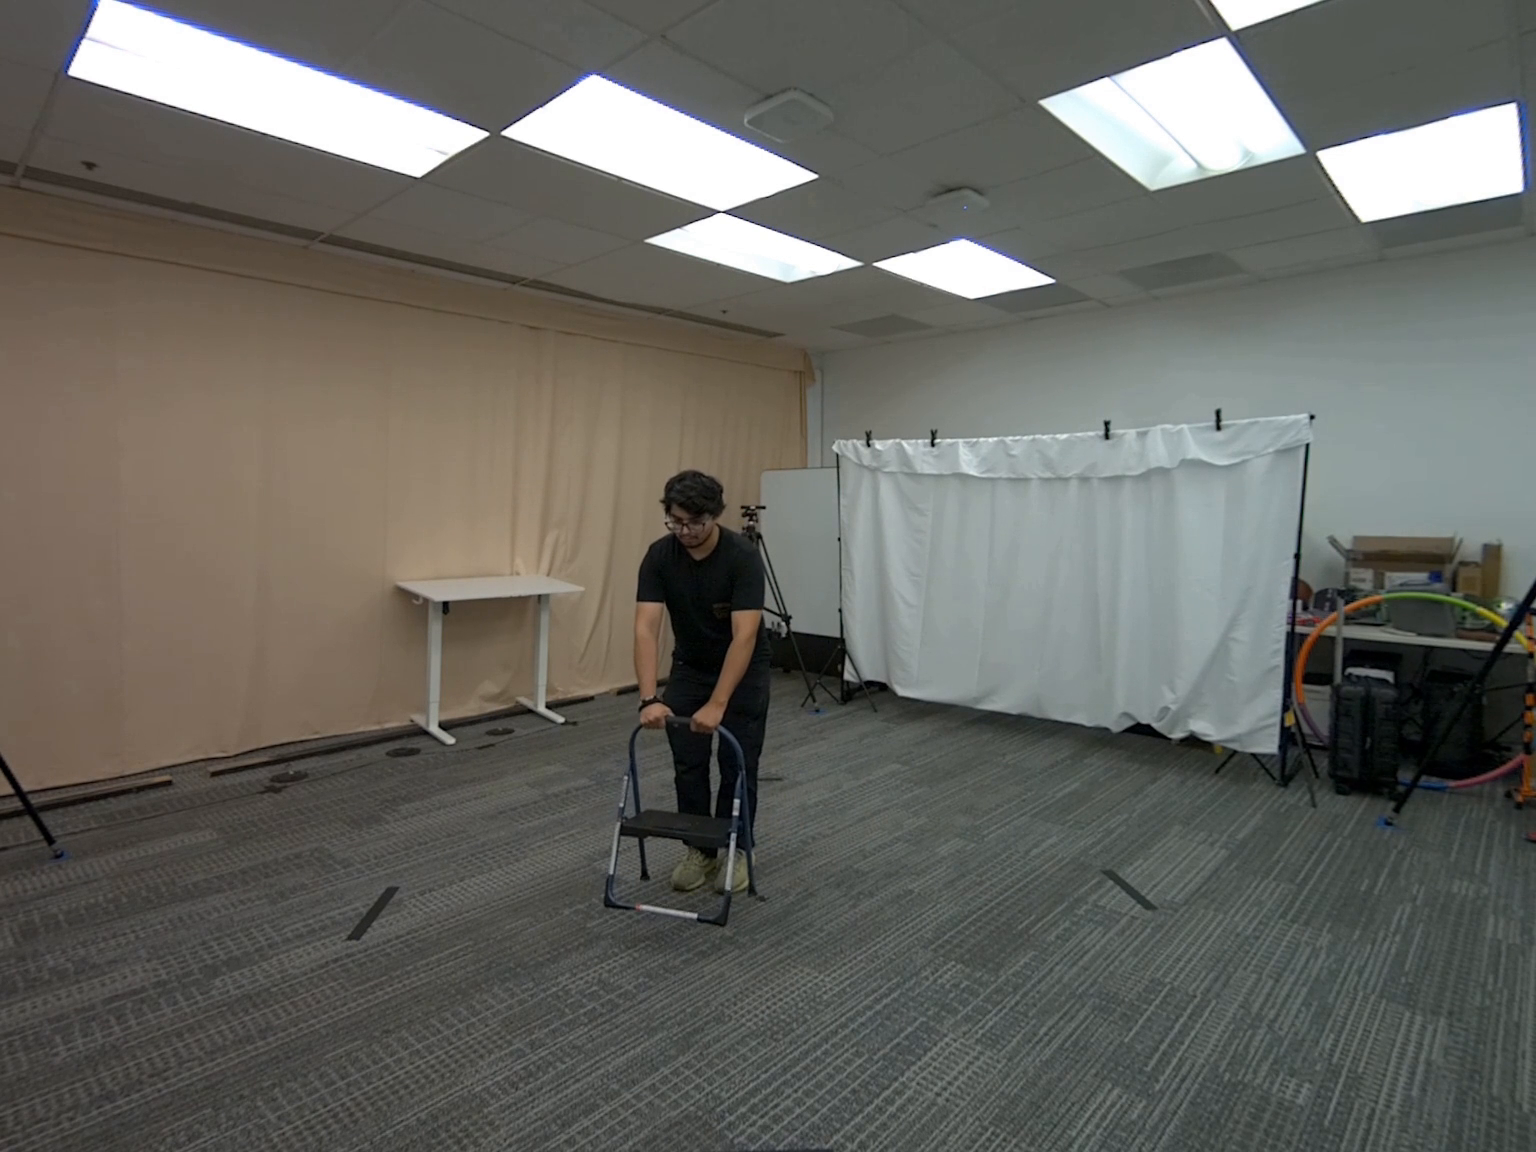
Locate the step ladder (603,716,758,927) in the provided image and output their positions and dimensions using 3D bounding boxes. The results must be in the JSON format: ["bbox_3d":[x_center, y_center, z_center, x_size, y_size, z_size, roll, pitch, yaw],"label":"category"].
[{"bbox_3d":[-0.276,0.771,2.801,0.439,0.608,0.342,1,-5,17],"label":"step ladder"}]
